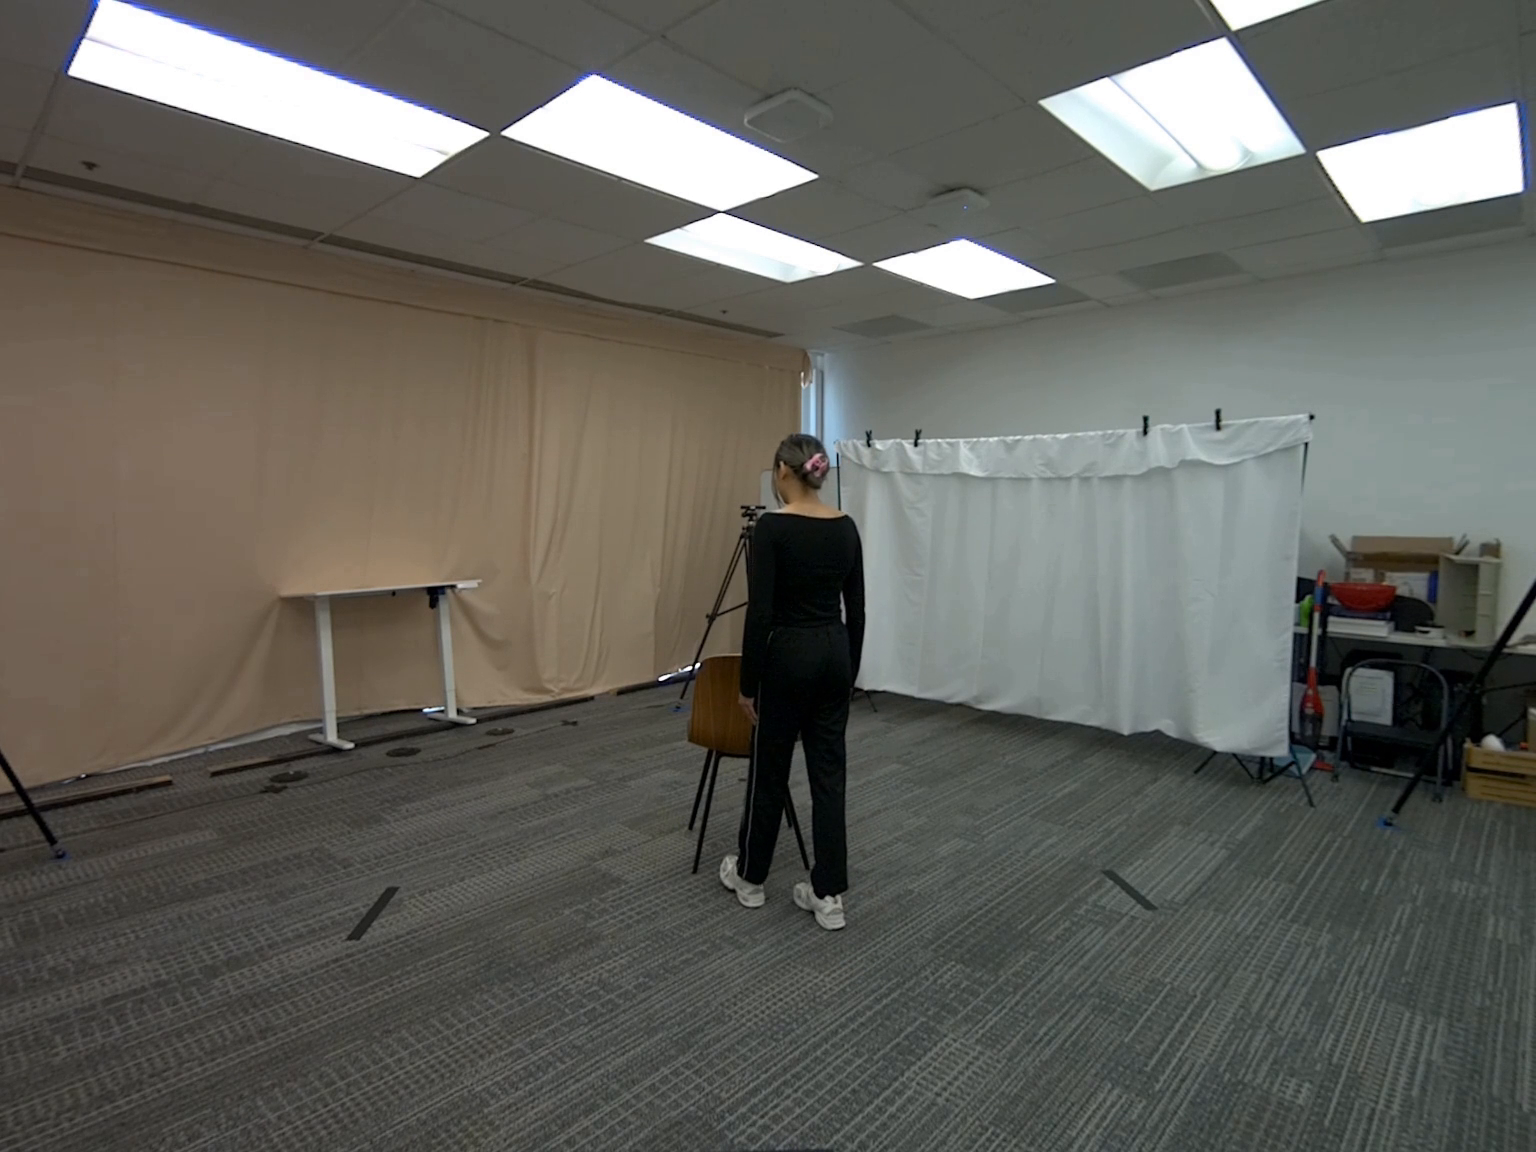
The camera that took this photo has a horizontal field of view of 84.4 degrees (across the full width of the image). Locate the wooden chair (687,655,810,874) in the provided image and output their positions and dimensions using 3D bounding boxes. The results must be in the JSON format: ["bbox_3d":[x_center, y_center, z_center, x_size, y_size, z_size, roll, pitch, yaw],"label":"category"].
[{"bbox_3d":[-0.100,0.682,3.406,0.476,0.873,0.528,-2,7,-5],"label":"wooden chair"}]
